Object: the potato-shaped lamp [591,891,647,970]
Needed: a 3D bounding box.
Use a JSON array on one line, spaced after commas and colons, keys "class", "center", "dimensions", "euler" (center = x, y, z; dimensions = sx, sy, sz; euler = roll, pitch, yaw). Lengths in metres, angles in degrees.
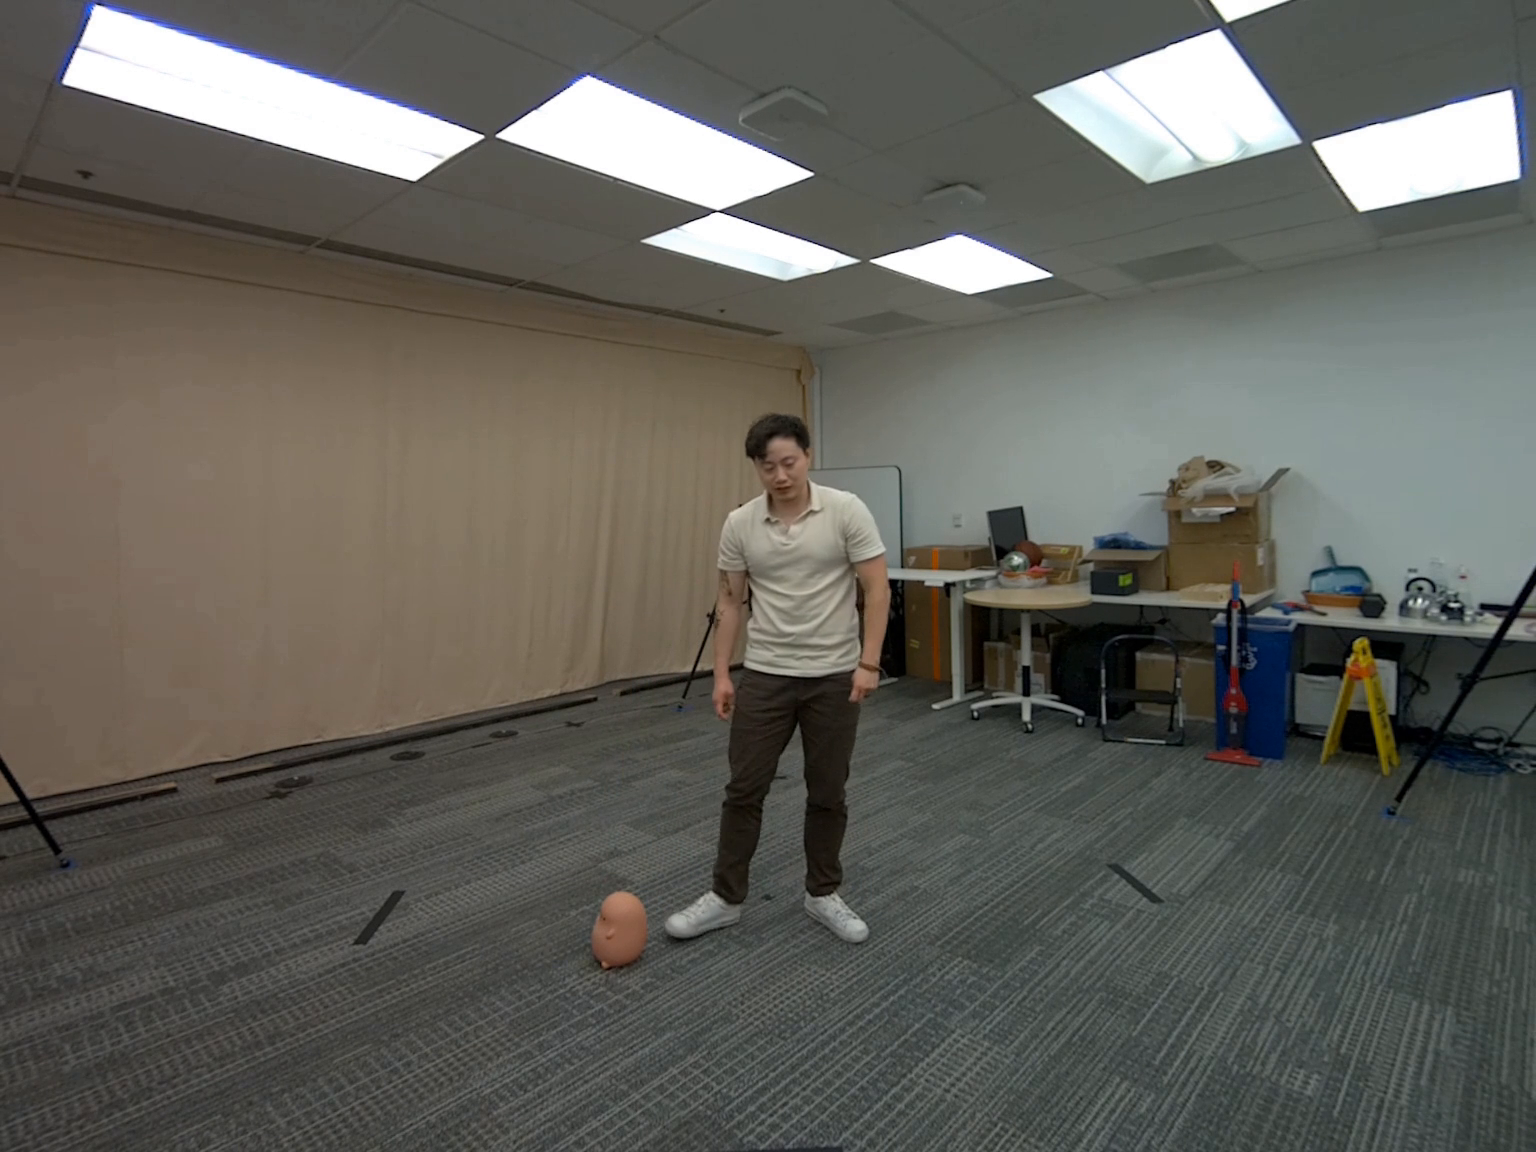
[{"class": "potato-shaped lamp", "center": [-0.455, 1.082, 2.597], "dimensions": [0.167, 0.198, 0.169], "euler": [1, 3, -23]}]
